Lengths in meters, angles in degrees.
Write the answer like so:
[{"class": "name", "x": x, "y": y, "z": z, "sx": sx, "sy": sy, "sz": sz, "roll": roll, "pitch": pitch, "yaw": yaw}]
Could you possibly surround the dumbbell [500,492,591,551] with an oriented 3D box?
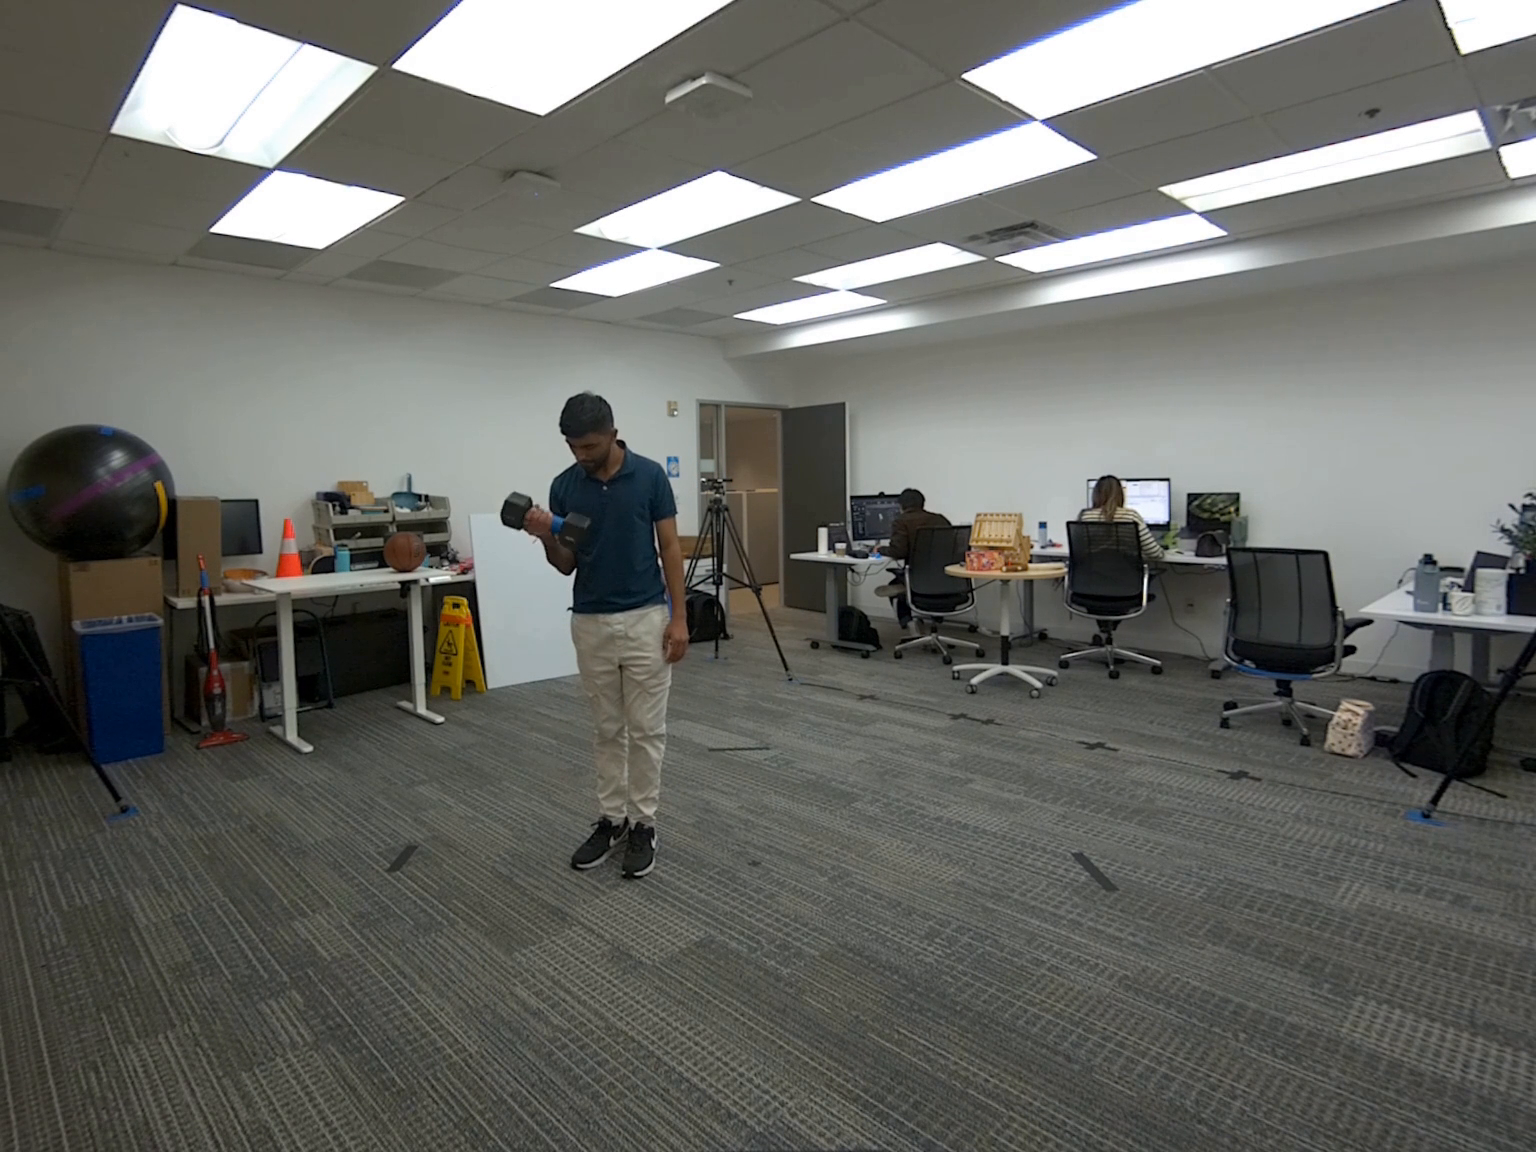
[{"class": "dumbbell", "x": -0.770, "y": -0.174, "z": 2.903, "sx": 0.294, "sy": 0.123, "sz": 0.108, "roll": 20, "pitch": 3, "yaw": 2}]
